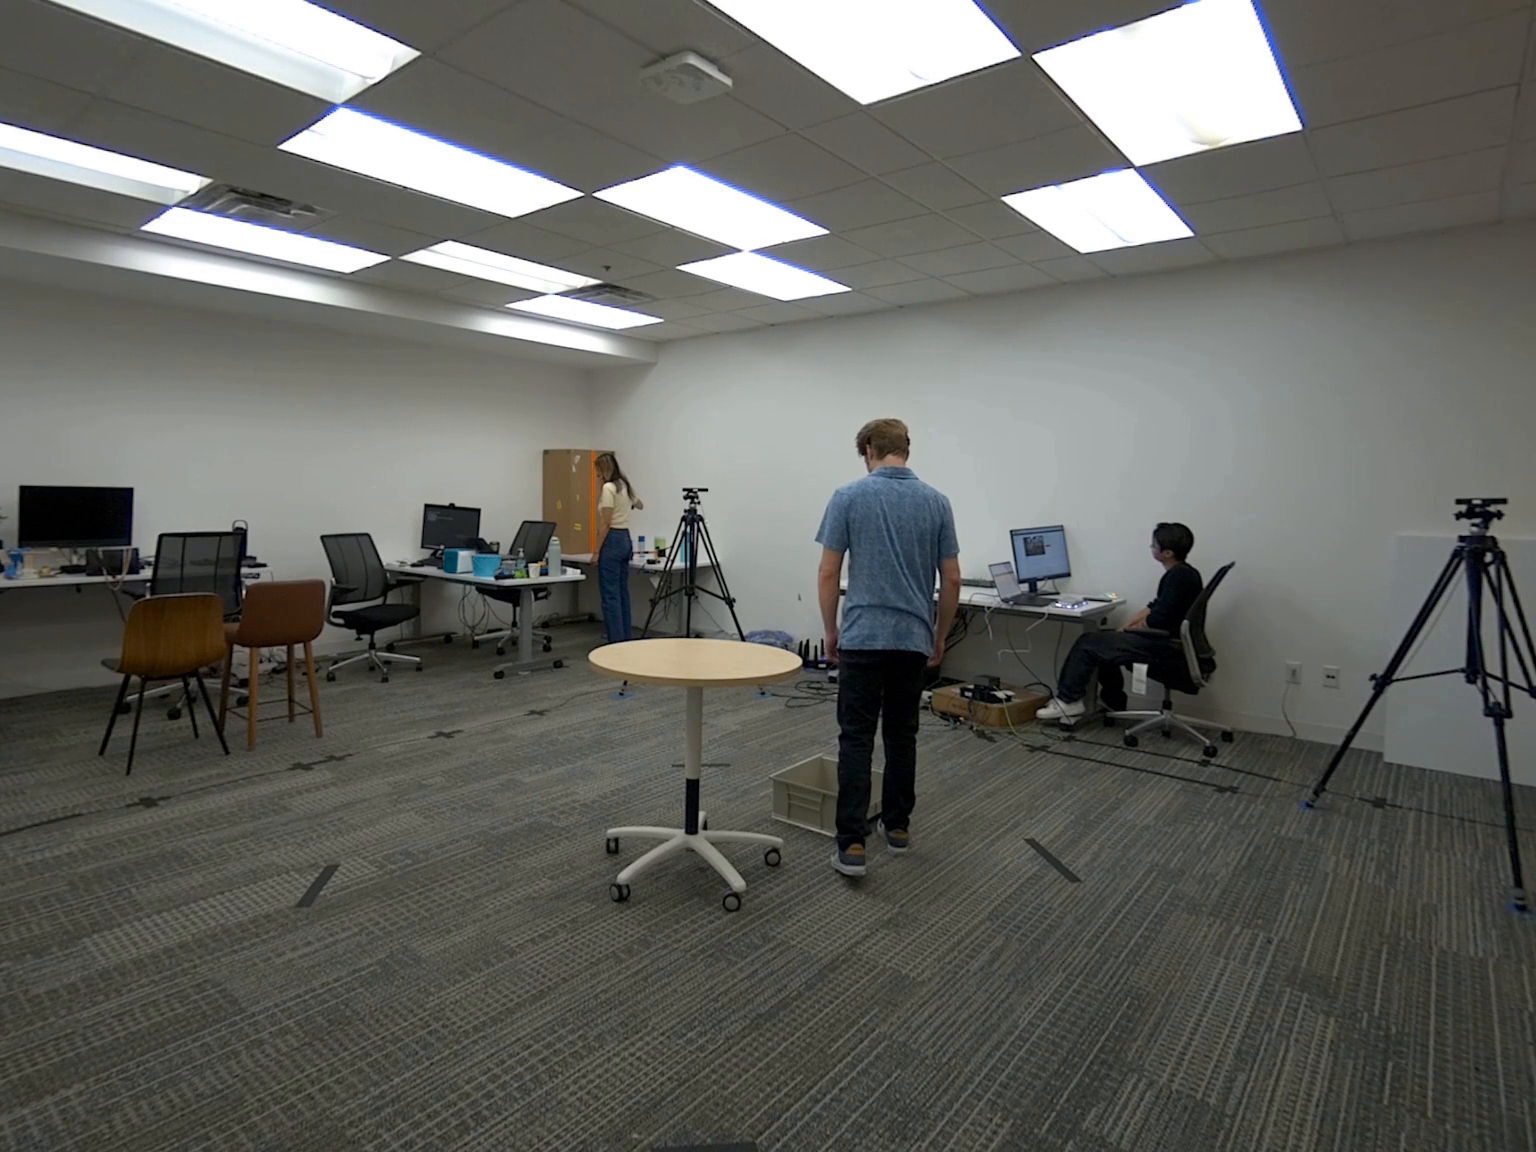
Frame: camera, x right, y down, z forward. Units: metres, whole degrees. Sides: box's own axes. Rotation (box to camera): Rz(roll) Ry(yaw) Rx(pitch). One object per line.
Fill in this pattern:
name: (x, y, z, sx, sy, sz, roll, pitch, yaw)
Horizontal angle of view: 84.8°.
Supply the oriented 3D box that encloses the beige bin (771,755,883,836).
beige bin: (0.266, 0.937, 3.661, 0.390, 0.188, 0.410, 5, 7, 36)
